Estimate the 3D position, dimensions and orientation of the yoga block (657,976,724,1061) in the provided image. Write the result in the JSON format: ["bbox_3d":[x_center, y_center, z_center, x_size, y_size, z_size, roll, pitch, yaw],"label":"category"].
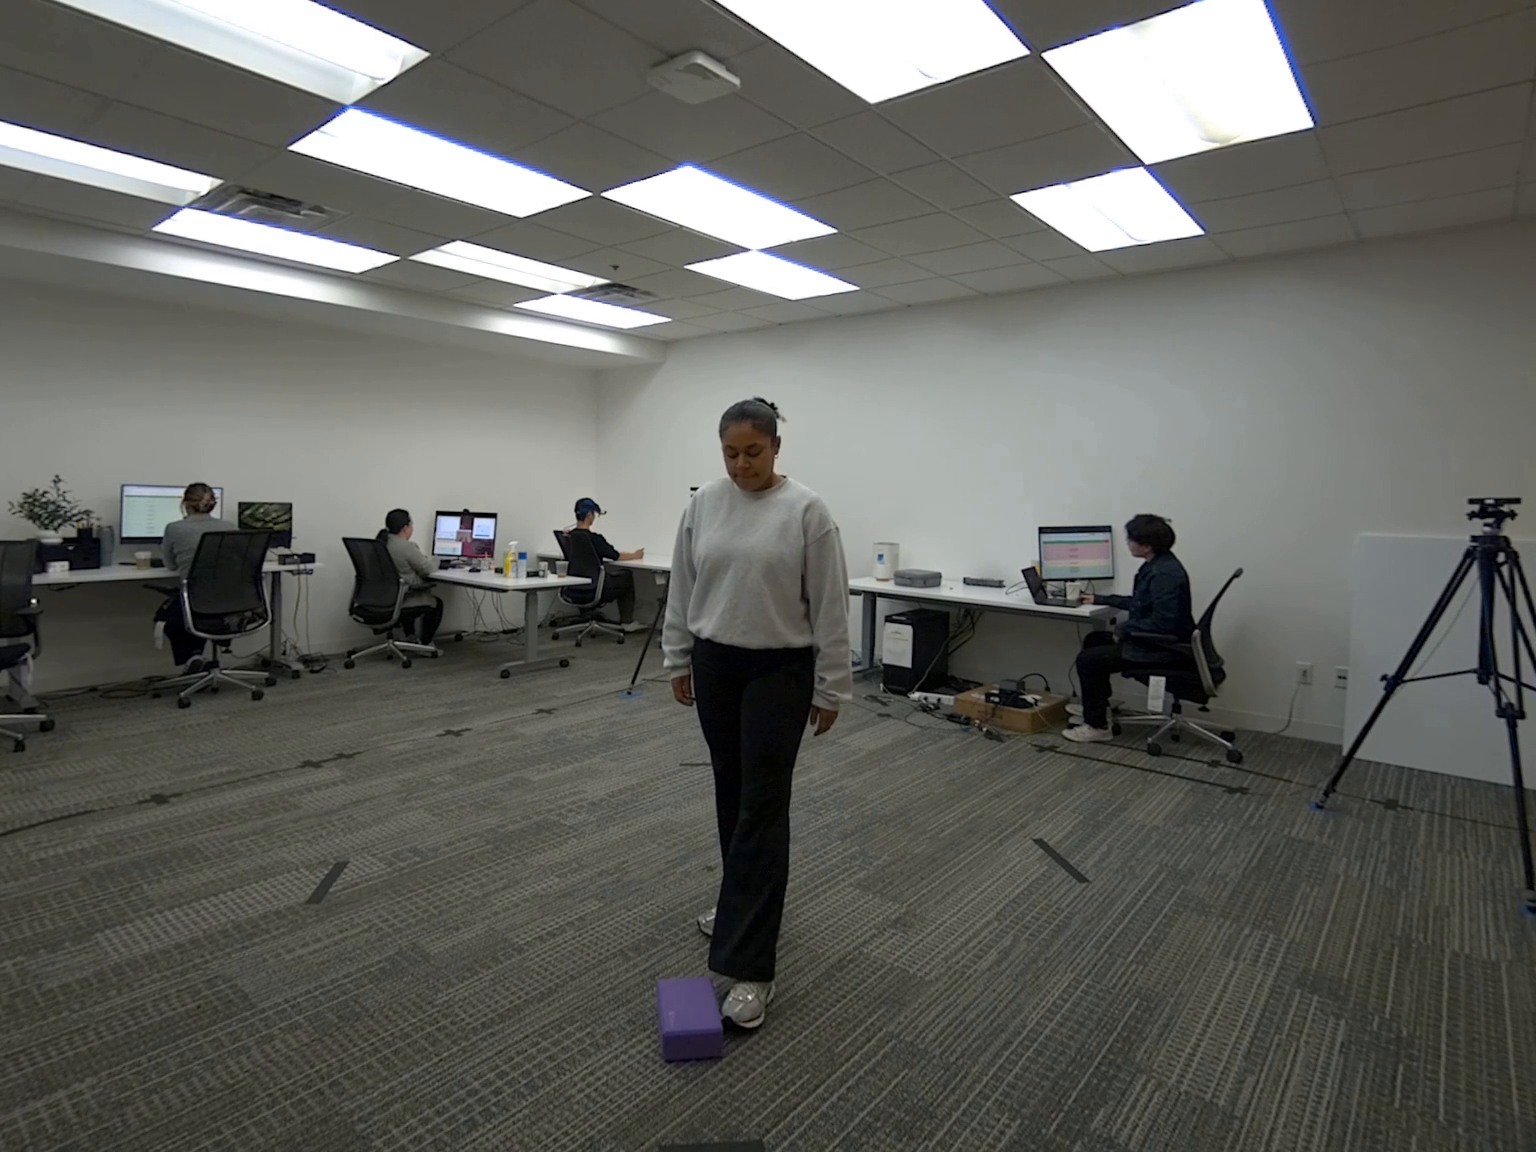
[{"bbox_3d":[-0.190,1.118,2.183,0.147,0.076,0.233,0,6,-10],"label":"yoga block"}]
